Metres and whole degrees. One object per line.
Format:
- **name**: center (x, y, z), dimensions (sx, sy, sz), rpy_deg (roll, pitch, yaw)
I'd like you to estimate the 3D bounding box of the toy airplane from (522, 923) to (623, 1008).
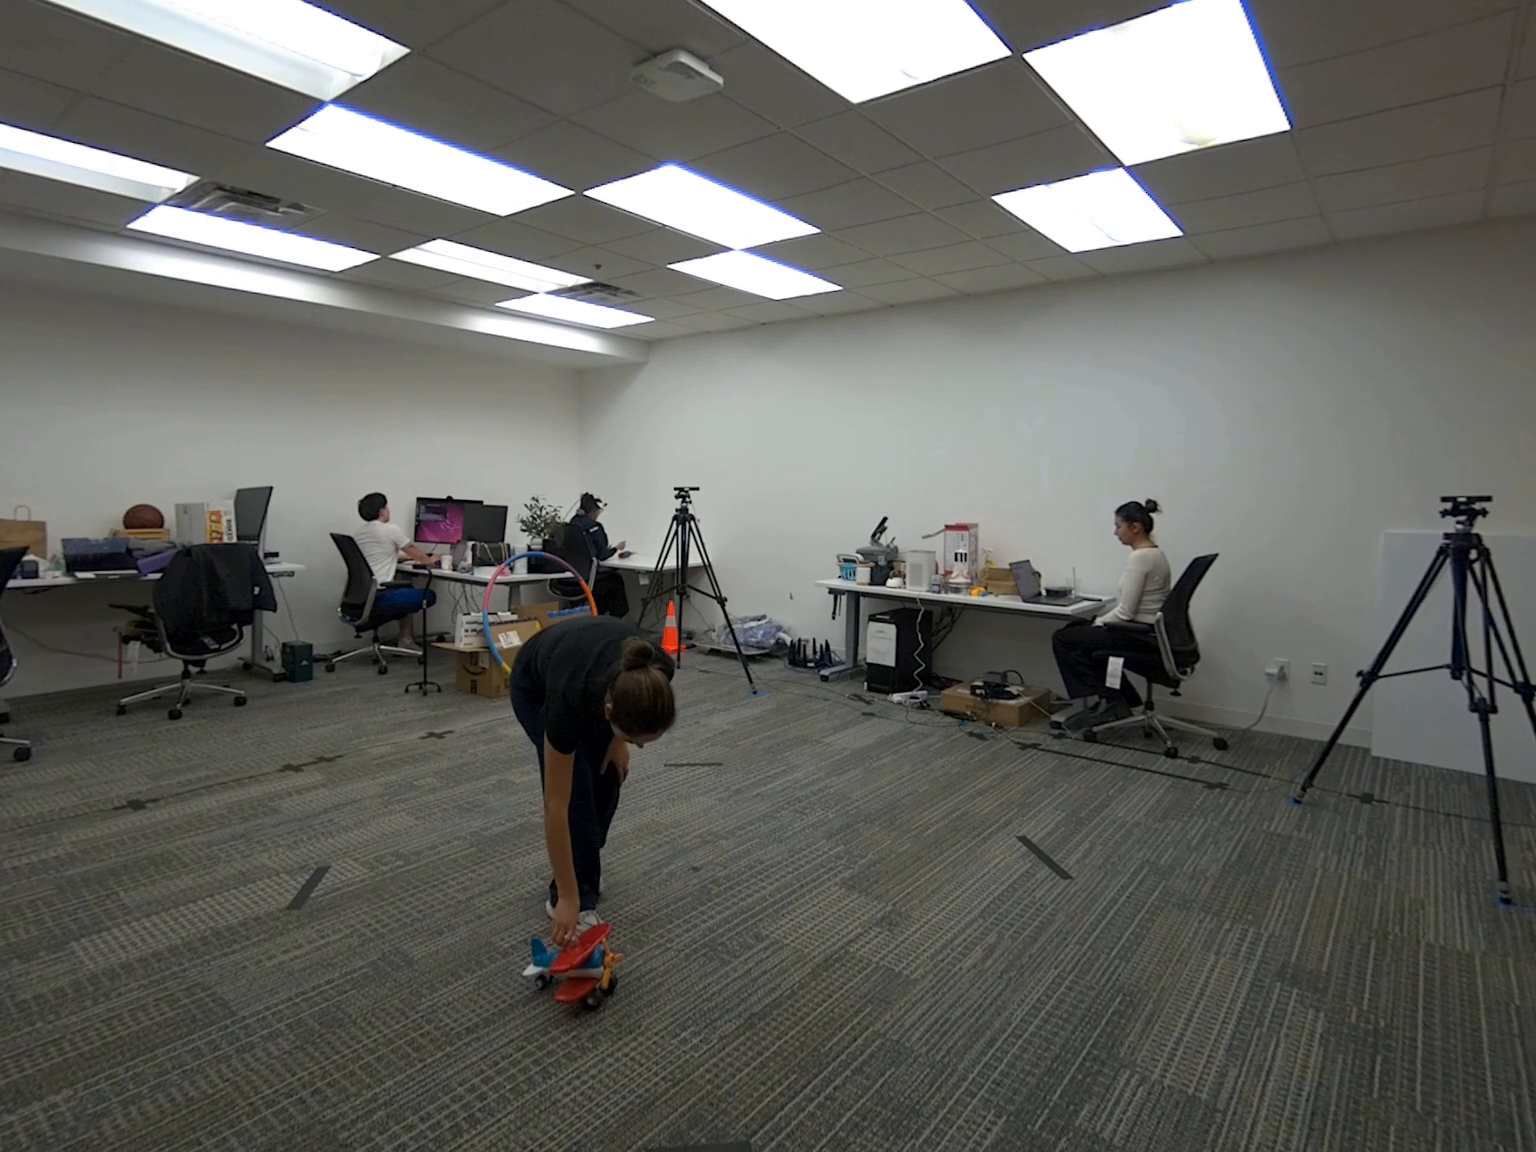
- **toy airplane**: center (-0.532, 1.067, 2.325), dimensions (0.257, 0.156, 0.254), rpy_deg (1, 5, -8)
